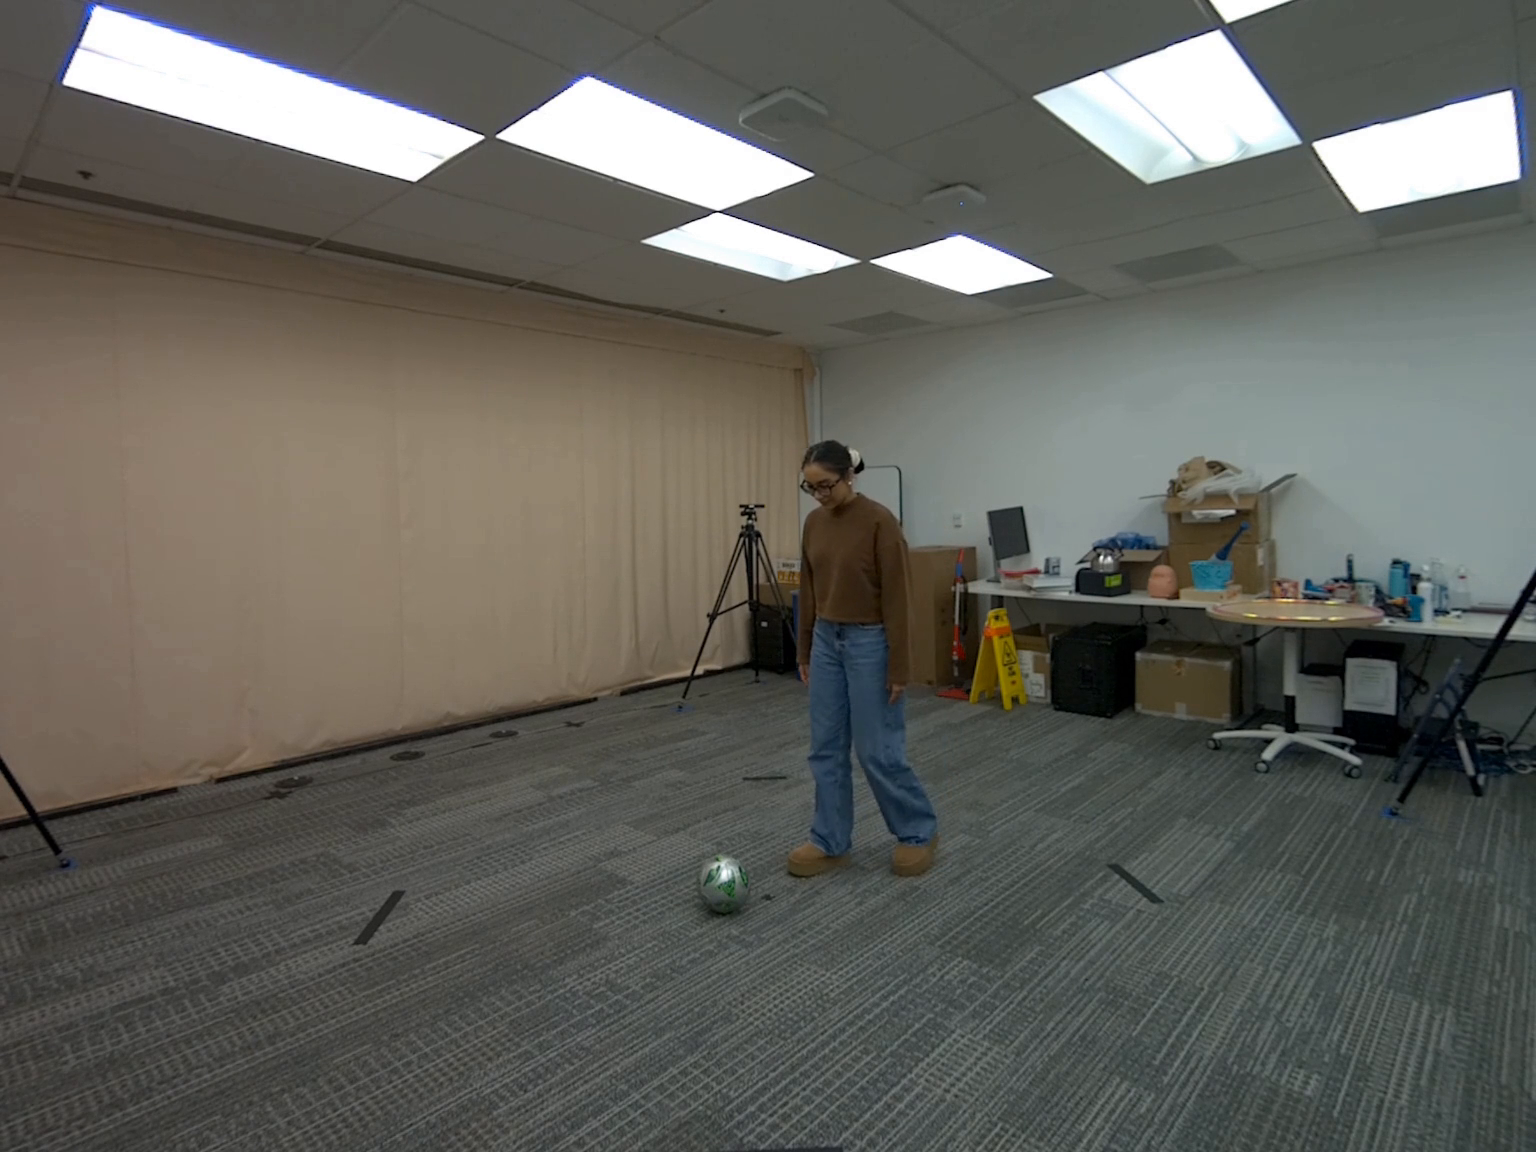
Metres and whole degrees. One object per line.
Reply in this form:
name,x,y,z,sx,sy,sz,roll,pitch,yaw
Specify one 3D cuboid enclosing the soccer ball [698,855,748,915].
soccer ball,-0.150,1.053,2.890,0.187,0.187,0.188,-1,4,-2
